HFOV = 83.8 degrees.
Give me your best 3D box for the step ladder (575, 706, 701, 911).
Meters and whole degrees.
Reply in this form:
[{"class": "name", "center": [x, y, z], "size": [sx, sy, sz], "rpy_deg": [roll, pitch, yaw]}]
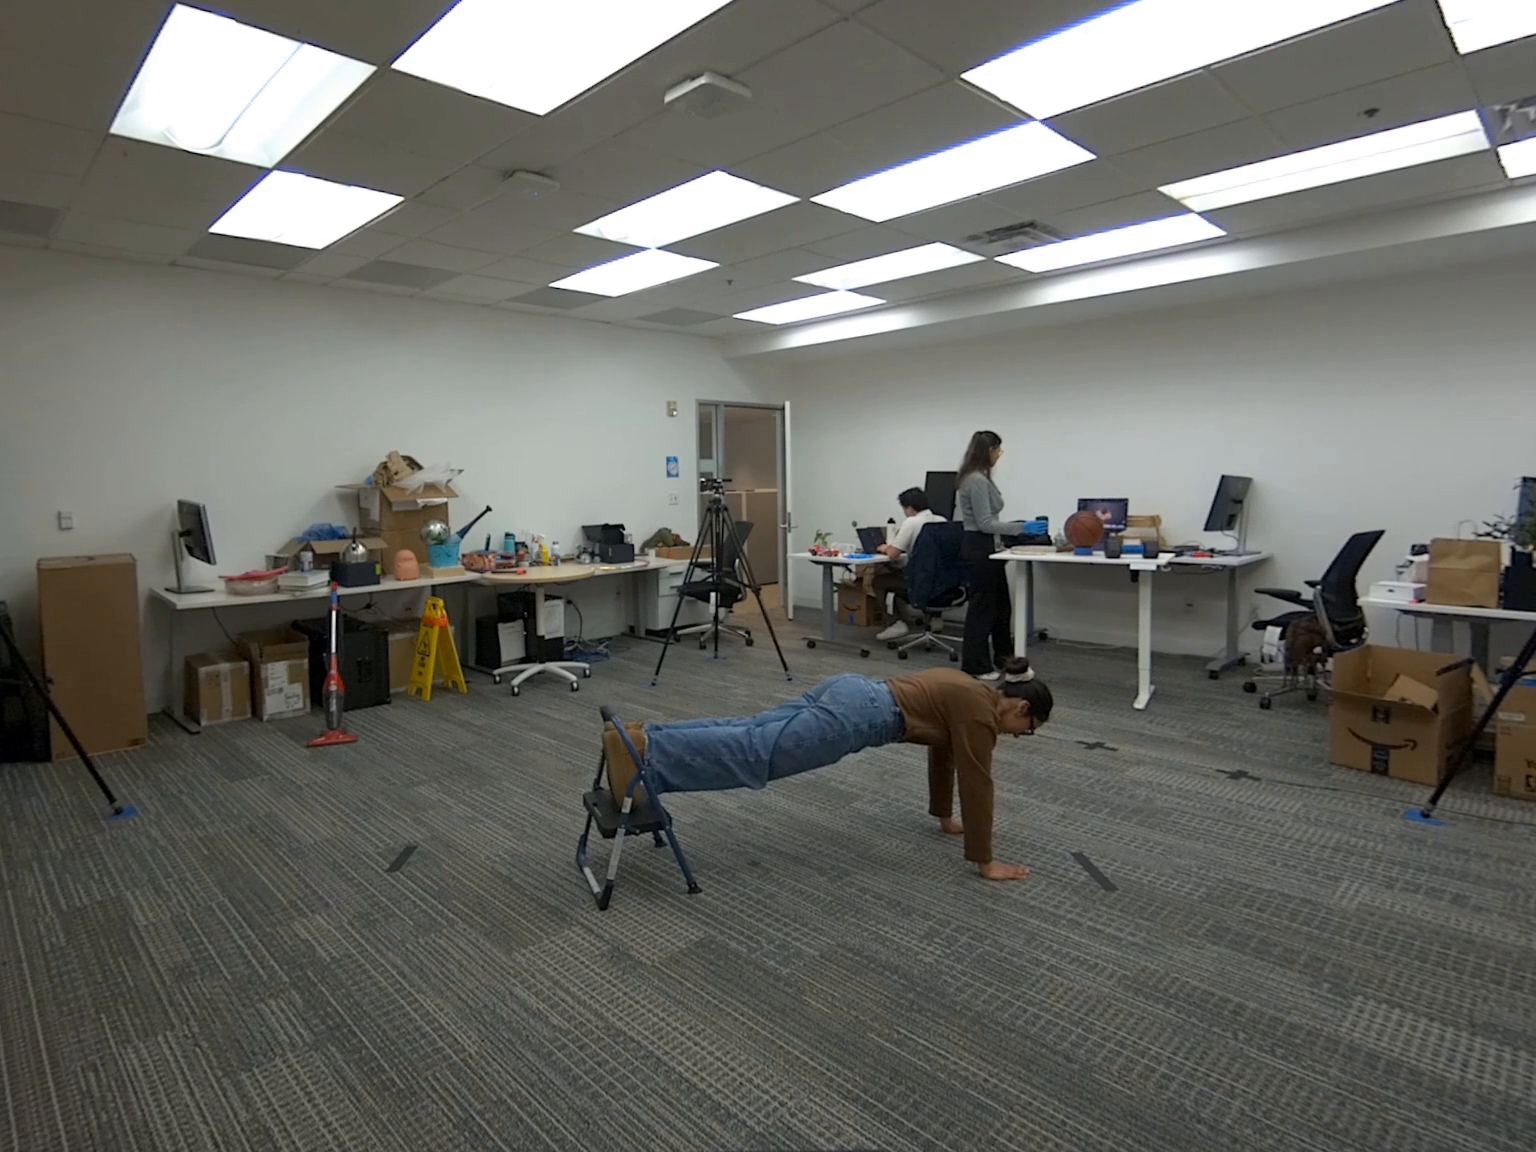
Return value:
[{"class": "step ladder", "center": [-0.474, 0.763, 3.009], "size": [0.342, 0.604, 0.441], "rpy_deg": [-3, 5, -24]}]
